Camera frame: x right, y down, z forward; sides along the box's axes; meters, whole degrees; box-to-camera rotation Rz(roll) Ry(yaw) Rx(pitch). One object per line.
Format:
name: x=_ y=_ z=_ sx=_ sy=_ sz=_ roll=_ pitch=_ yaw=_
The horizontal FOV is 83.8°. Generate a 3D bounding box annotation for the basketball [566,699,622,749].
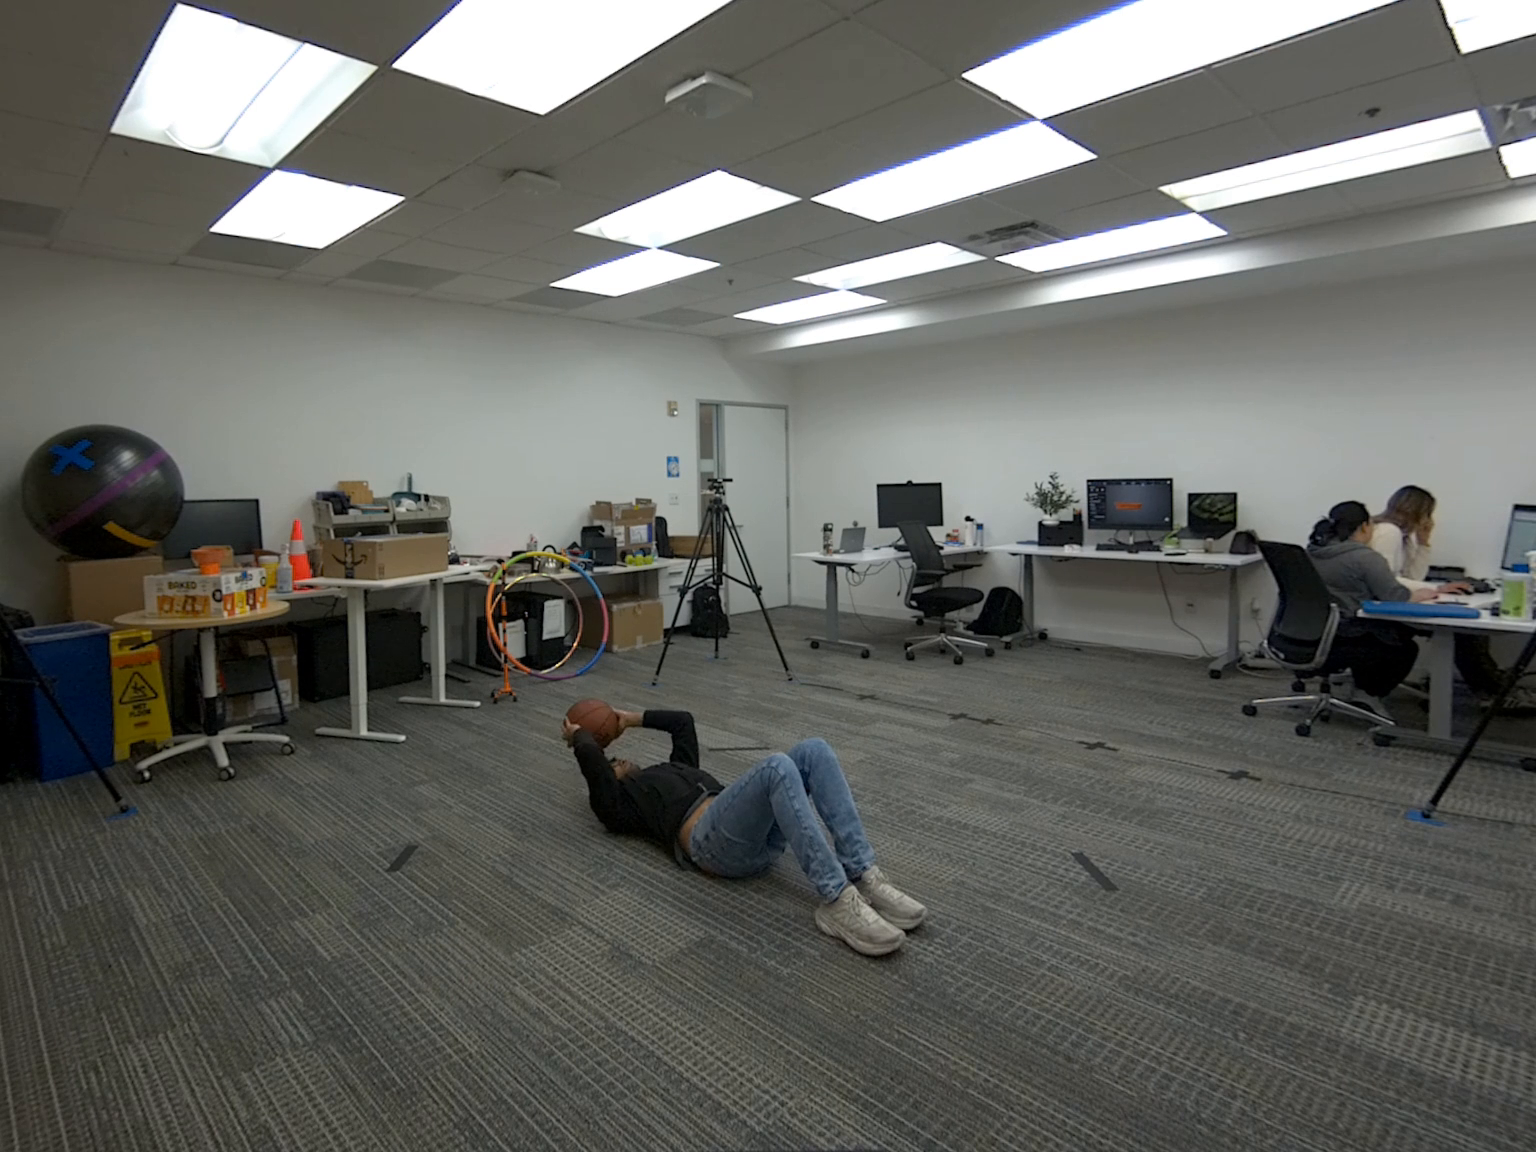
basketball: x=-0.777 y=0.664 z=3.768 sx=0.236 sy=0.235 sz=0.237 roll=-1 pitch=5 yaw=-2
